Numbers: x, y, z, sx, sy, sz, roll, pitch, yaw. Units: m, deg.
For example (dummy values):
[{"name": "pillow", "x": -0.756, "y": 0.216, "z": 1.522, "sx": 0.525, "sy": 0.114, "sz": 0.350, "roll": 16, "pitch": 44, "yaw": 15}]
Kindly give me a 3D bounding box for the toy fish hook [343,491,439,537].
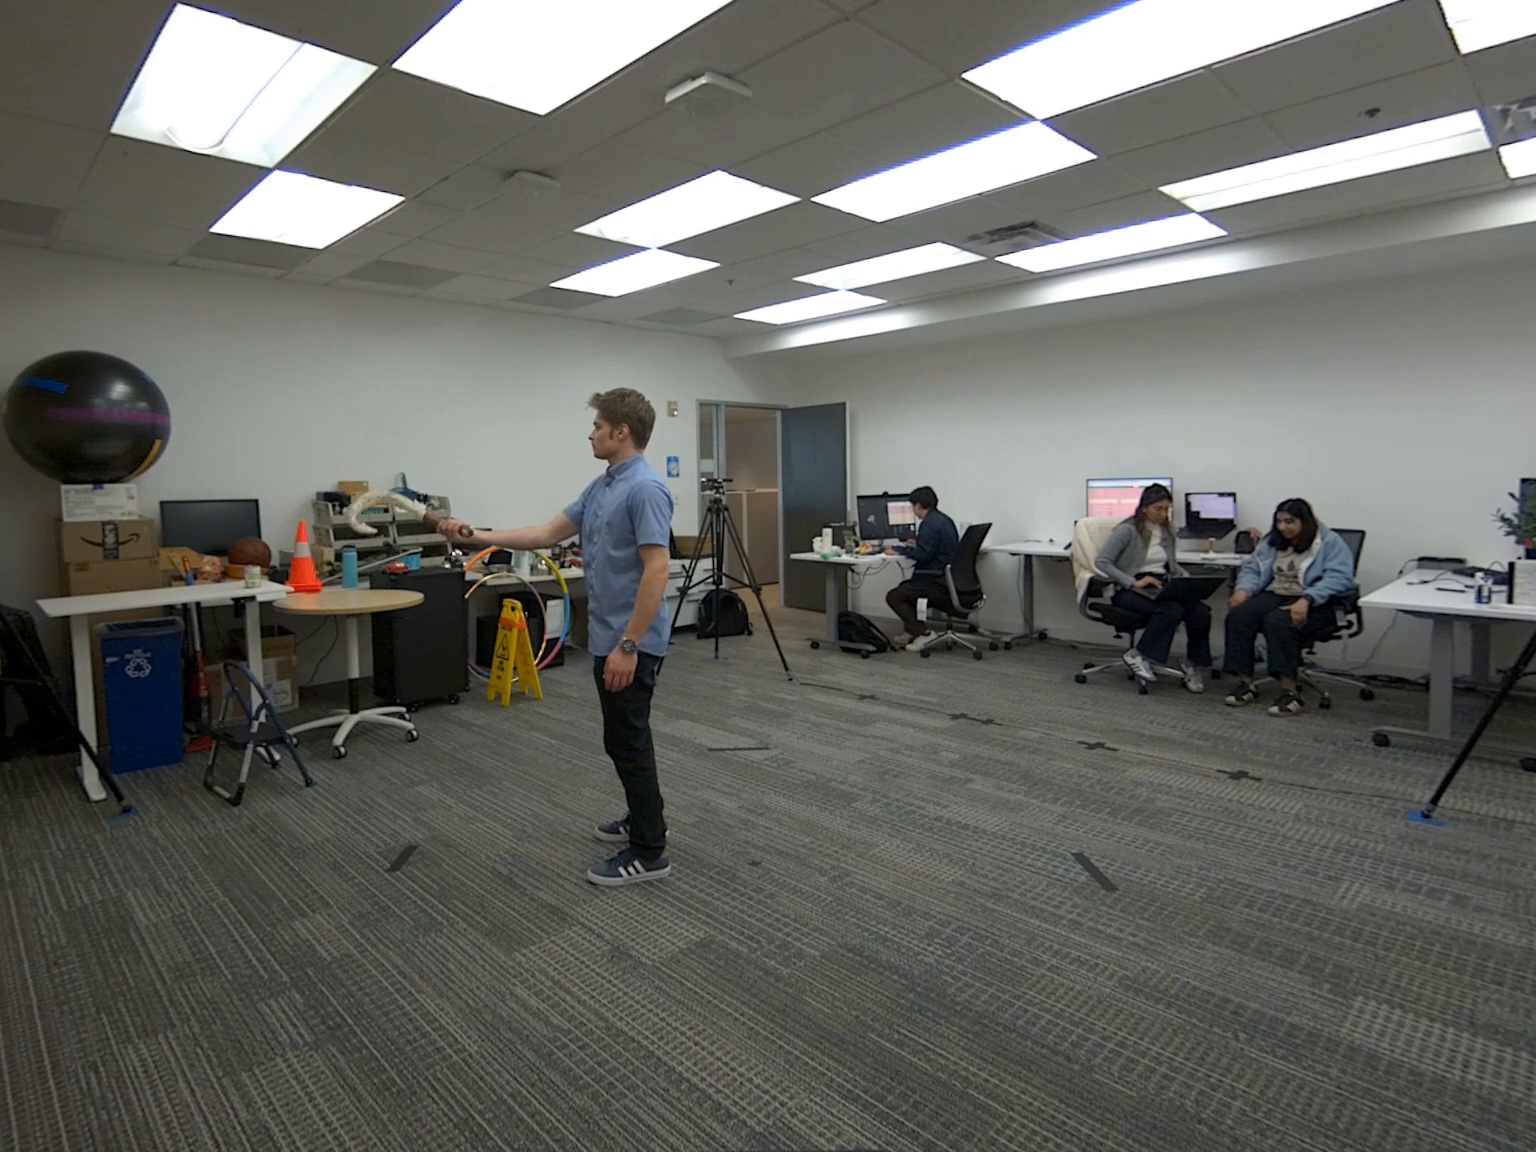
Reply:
[{"name": "toy fish hook", "x": -1.249, "y": -0.193, "z": 3.010, "sx": 0.517, "sy": 0.047, "sz": 0.226, "roll": 16, "pitch": 48, "yaw": 18}]
